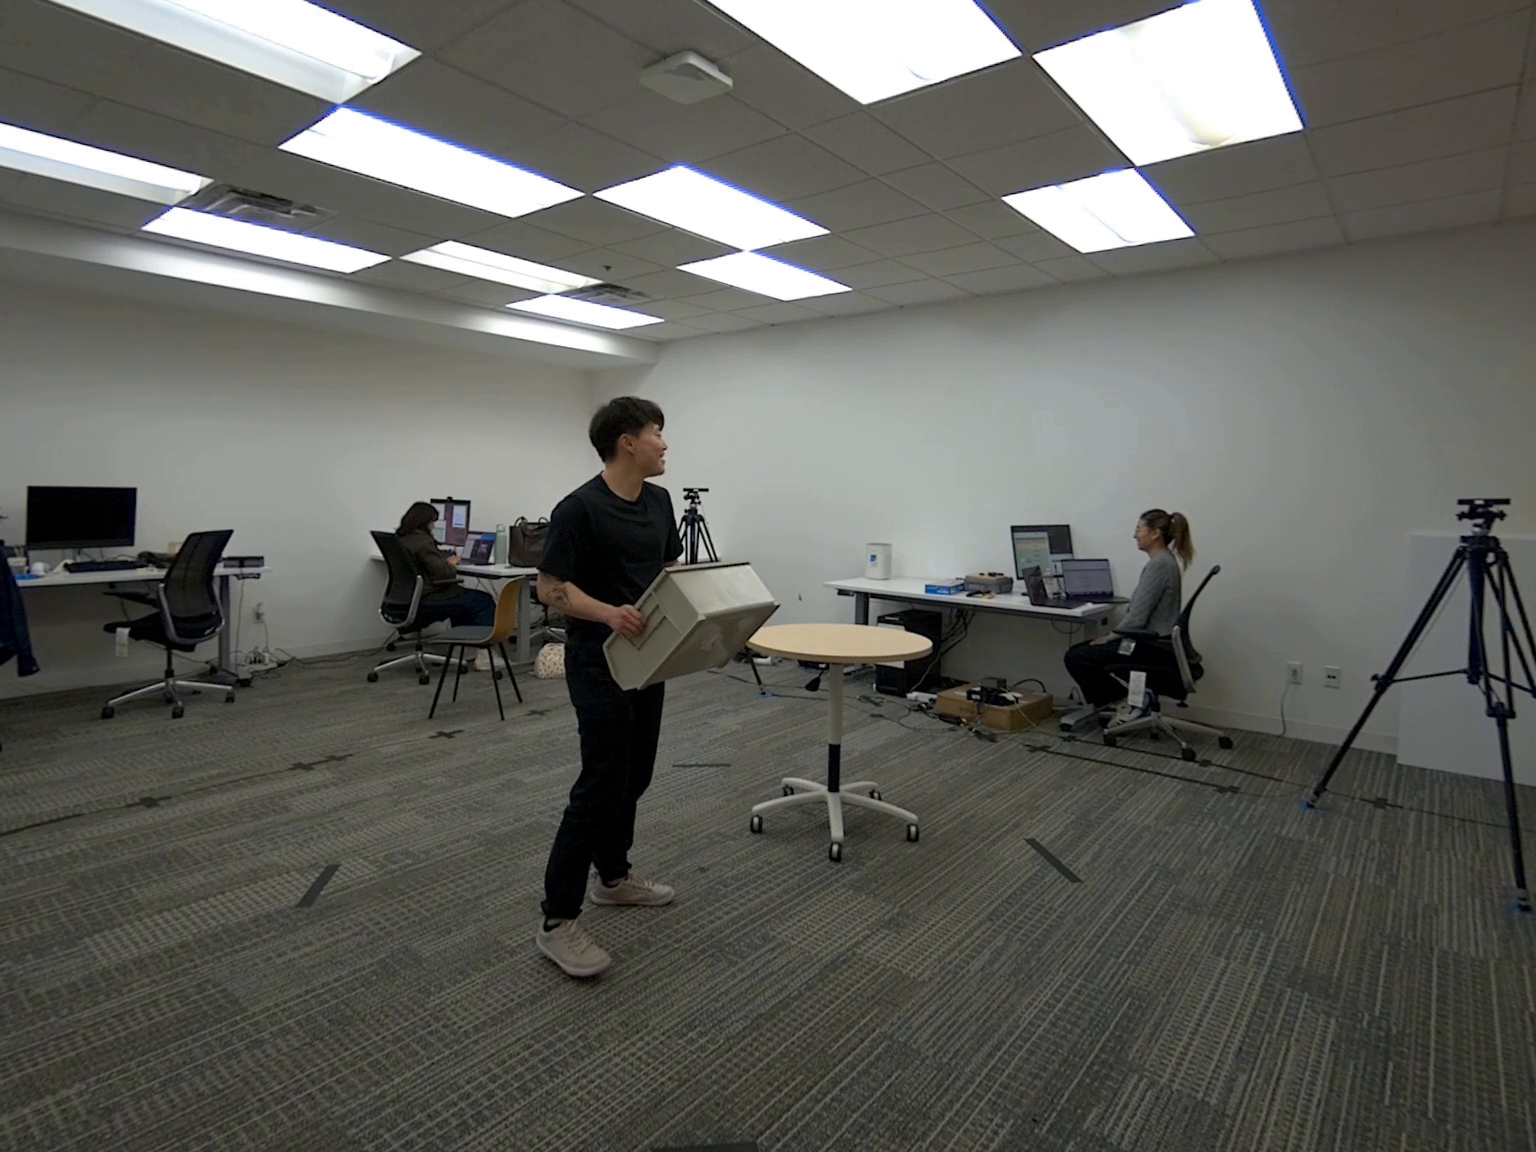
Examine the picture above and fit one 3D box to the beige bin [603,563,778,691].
[{"bbox_3d":[-0.234,0.150,2.549,0.377,0.194,0.411,-48,-22,28],"label":"beige bin"}]
